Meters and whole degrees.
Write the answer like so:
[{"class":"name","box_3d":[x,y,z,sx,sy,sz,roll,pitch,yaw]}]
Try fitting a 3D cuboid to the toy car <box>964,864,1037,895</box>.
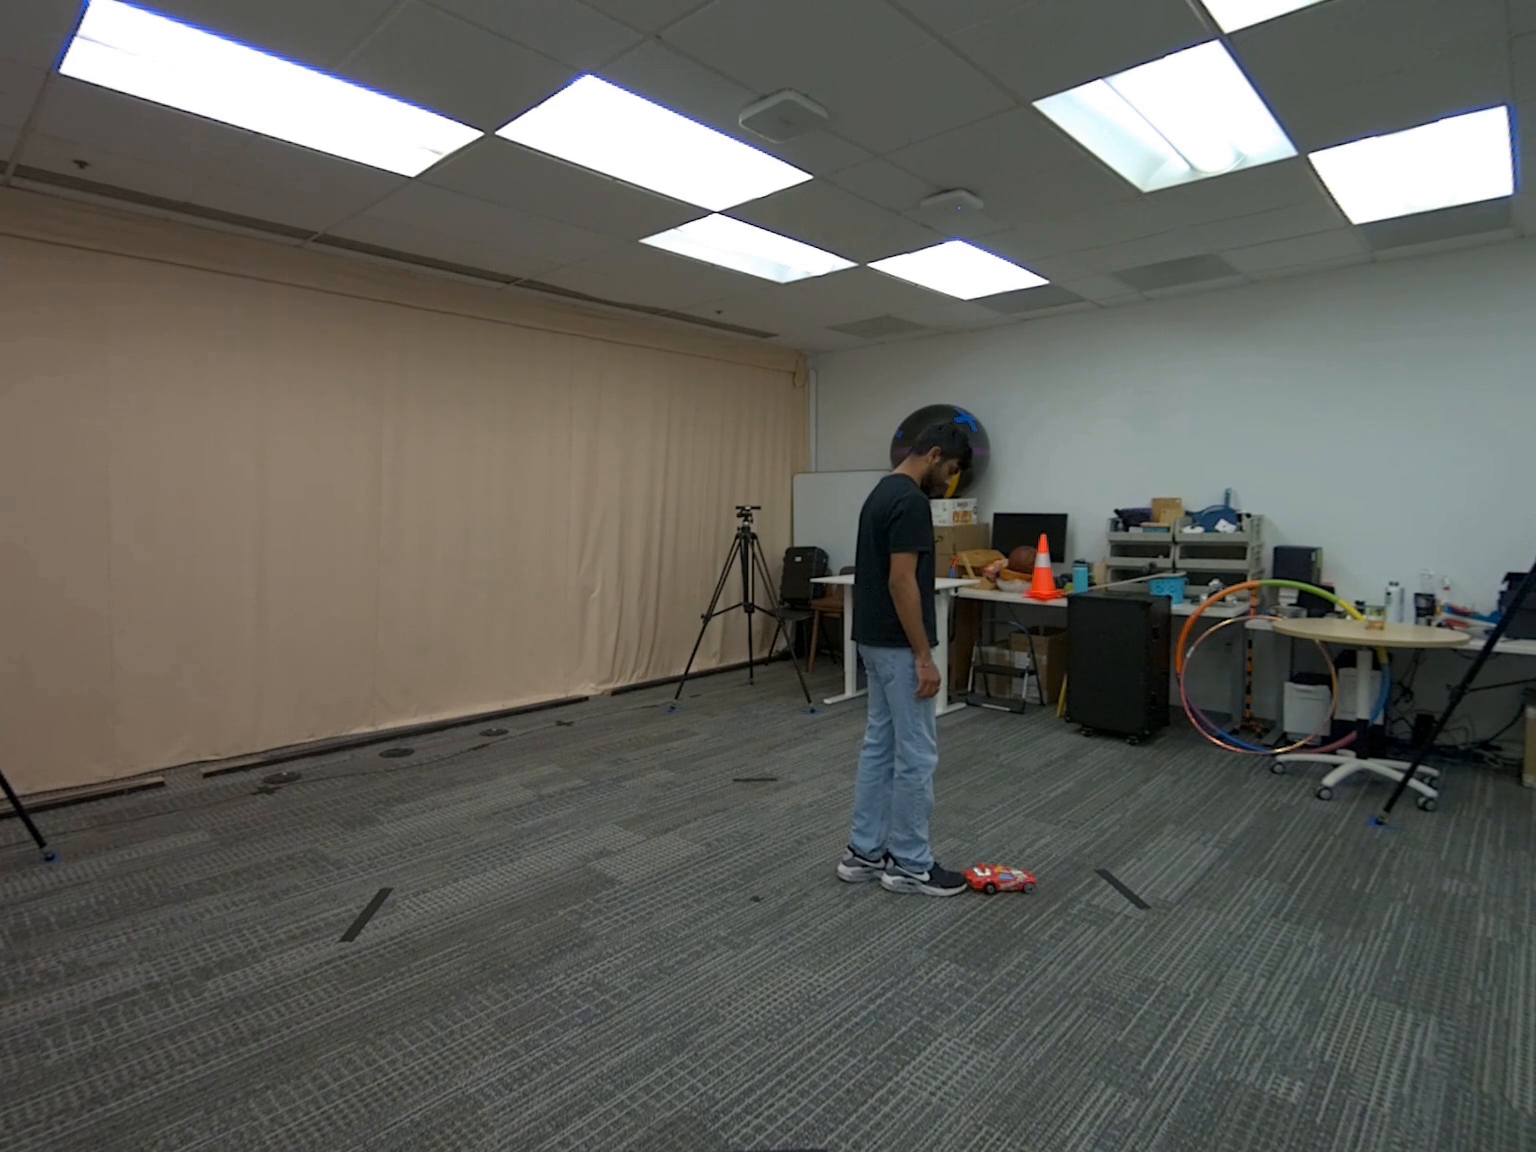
[{"class":"toy car","box_3d":[0.842,1.105,3.051,0.254,0.083,0.131,12,4,-3]}]
